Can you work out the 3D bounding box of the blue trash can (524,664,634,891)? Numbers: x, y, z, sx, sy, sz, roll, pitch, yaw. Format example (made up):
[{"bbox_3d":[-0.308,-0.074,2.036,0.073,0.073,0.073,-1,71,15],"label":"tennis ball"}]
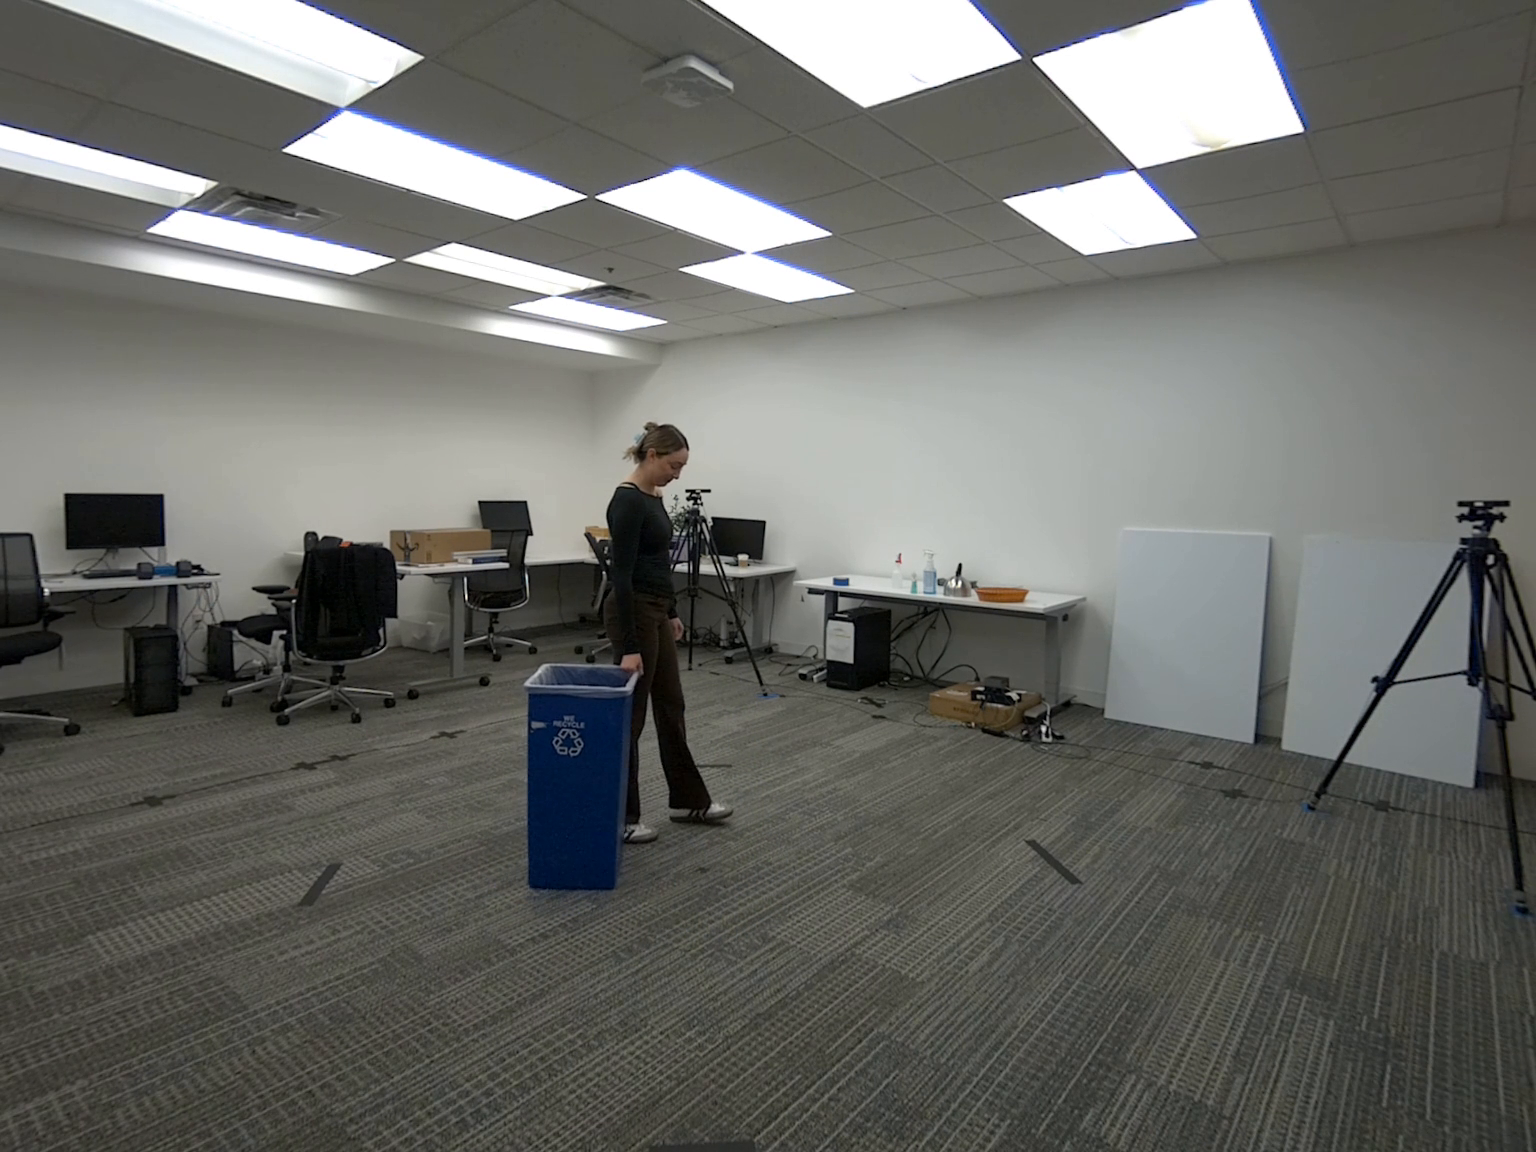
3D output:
[{"bbox_3d":[-0.676,0.709,3.070,0.373,0.711,0.380,2,4,-3],"label":"blue trash can"}]
